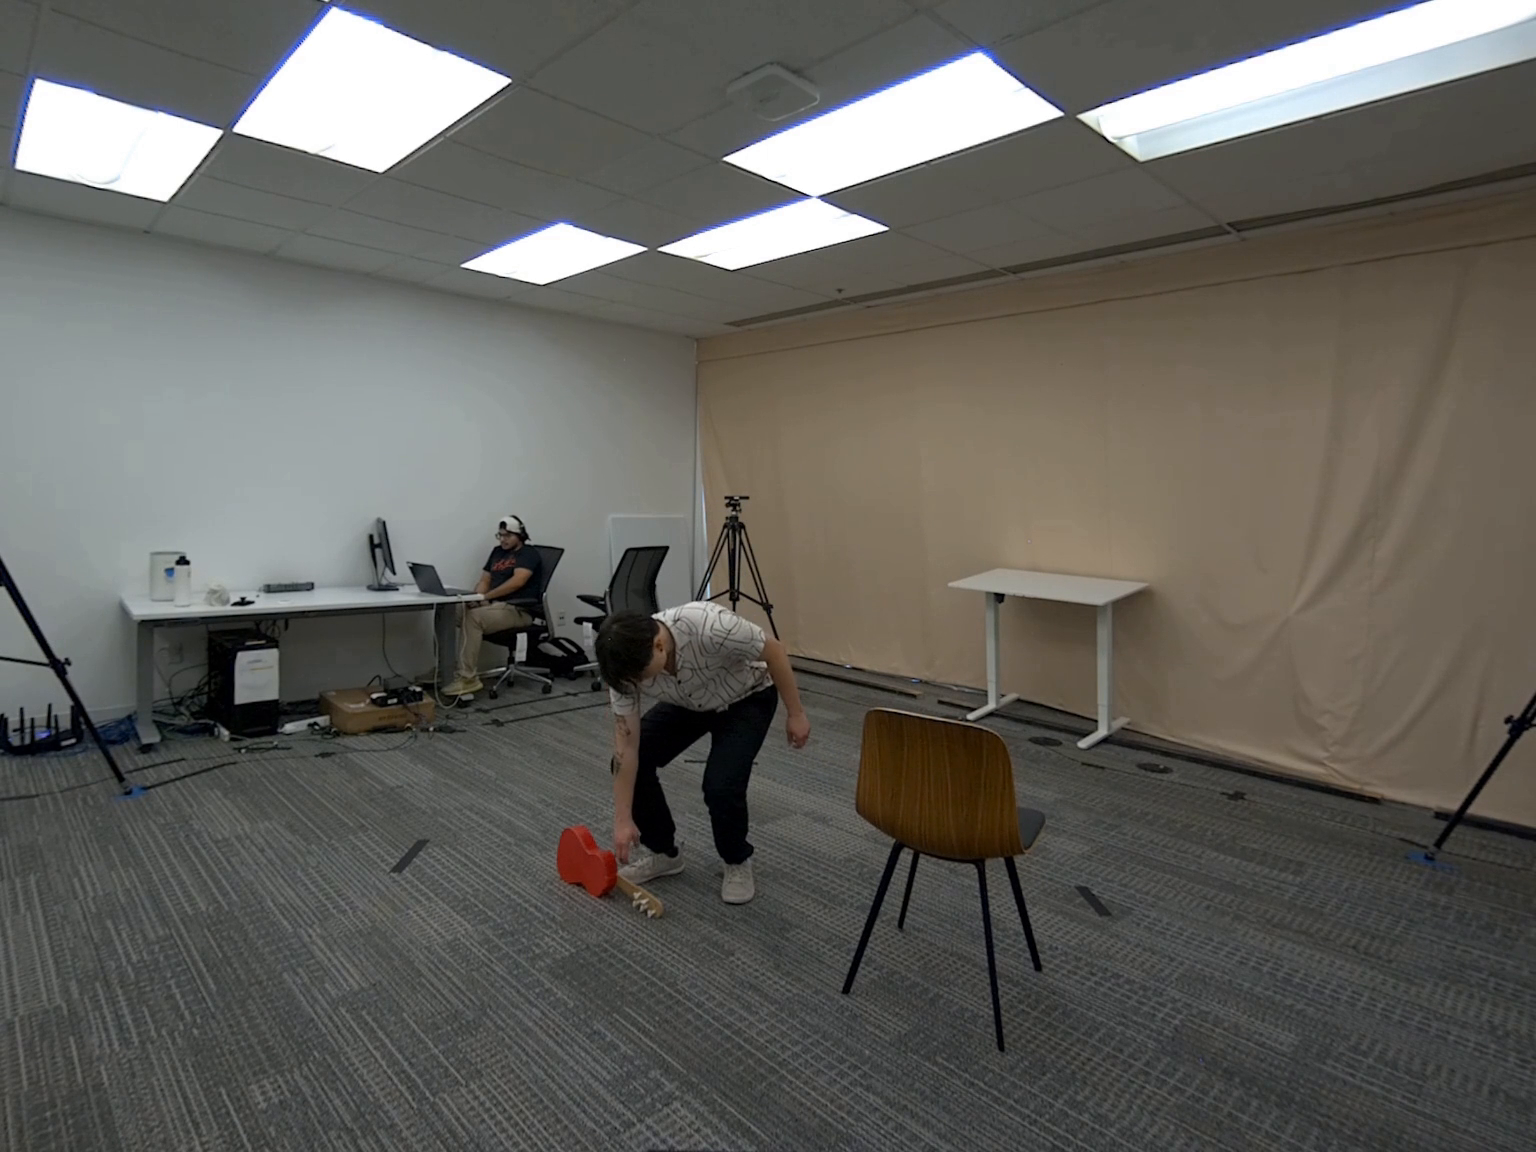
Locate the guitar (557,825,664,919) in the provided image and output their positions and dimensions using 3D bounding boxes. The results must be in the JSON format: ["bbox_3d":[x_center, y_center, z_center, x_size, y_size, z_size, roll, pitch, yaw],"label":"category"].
[{"bbox_3d":[-0.552,1.017,2.911,0.511,0.193,0.069,7,2,41],"label":"guitar"}]
